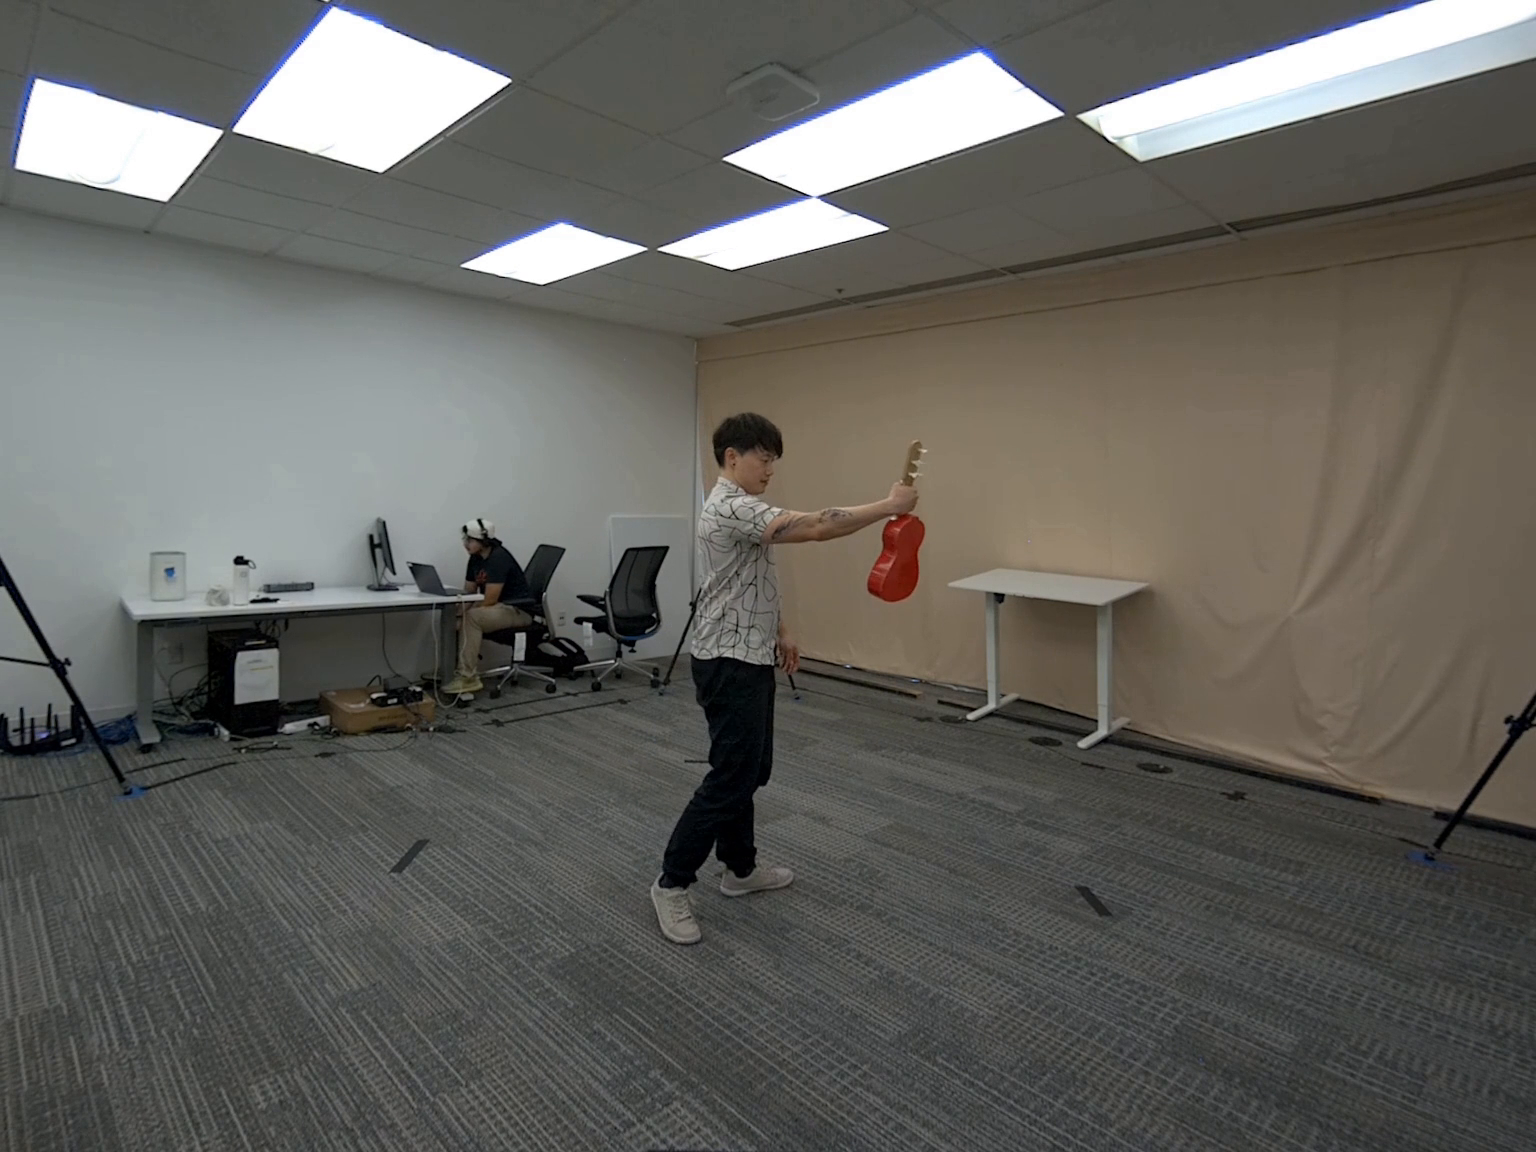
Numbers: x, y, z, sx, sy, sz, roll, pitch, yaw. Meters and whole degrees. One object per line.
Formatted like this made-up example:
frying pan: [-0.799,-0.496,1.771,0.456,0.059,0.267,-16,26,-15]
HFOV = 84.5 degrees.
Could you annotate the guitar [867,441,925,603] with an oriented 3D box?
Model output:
guitar: [0.398,-0.157,2.583,0.073,0.491,0.190,21,27,40]
